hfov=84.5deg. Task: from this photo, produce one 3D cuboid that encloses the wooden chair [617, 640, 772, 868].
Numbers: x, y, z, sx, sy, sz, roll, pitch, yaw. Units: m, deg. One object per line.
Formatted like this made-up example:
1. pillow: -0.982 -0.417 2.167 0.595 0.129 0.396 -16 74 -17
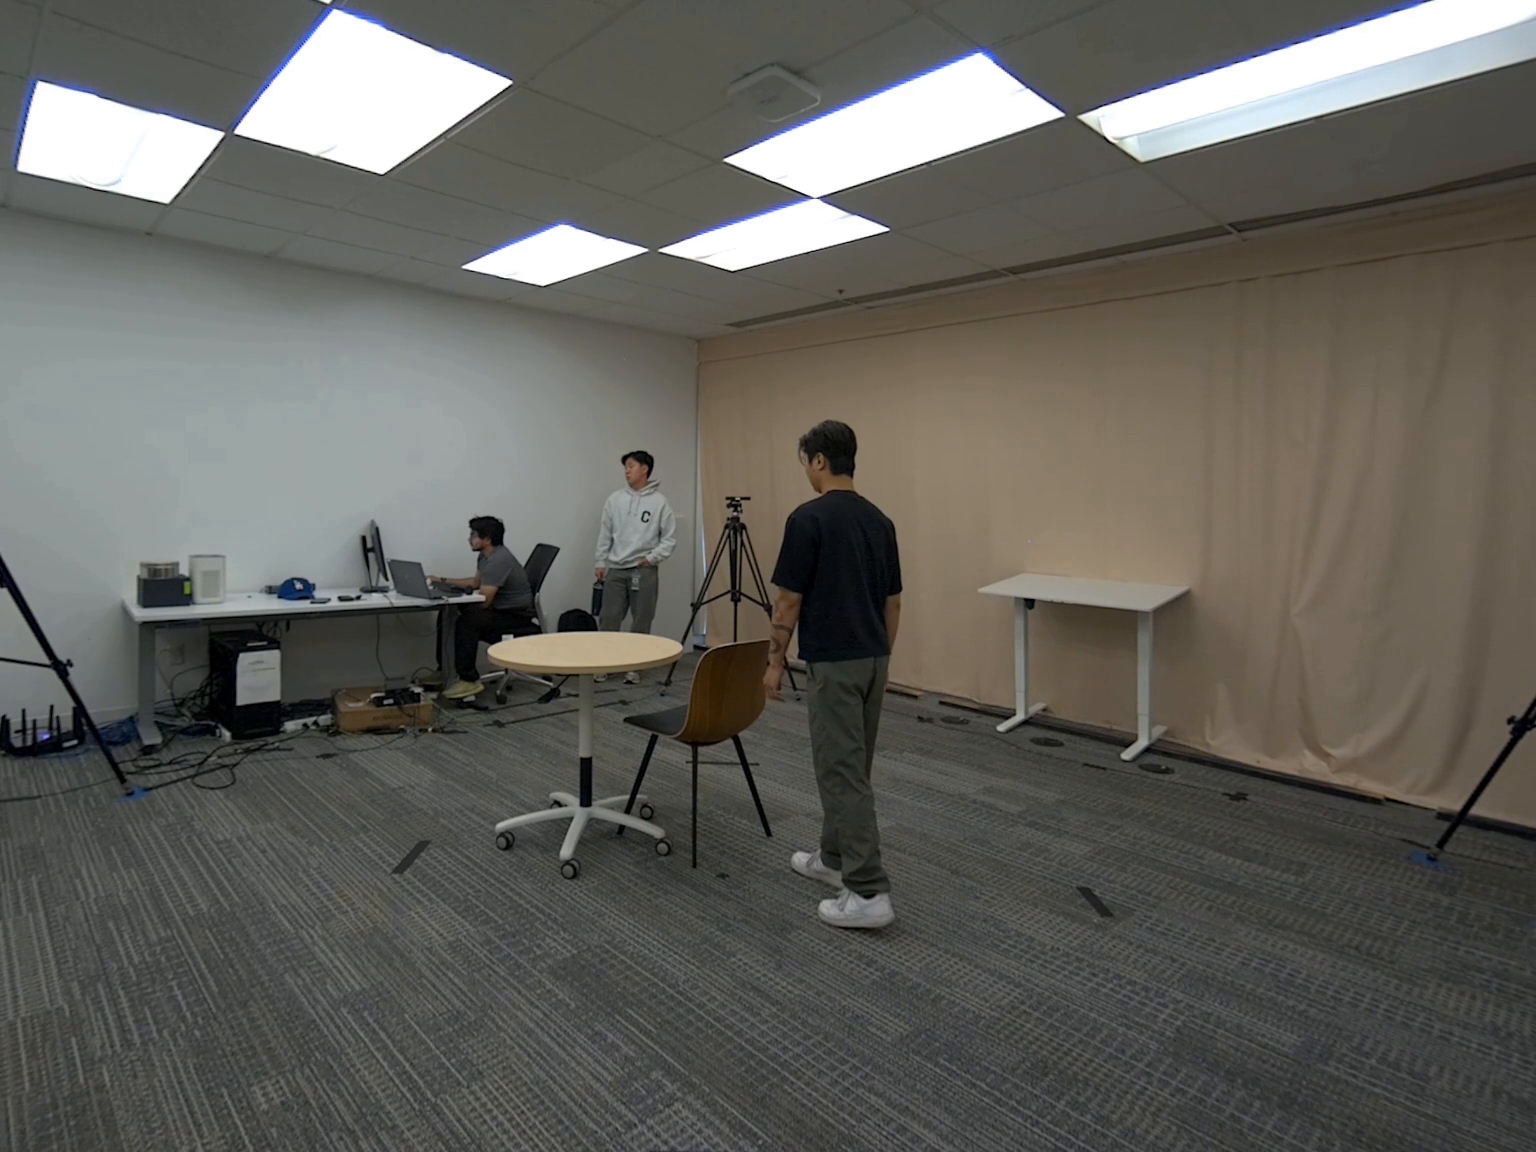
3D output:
1. wooden chair: -0.304 0.643 3.445 0.537 0.874 0.467 11 8 41
